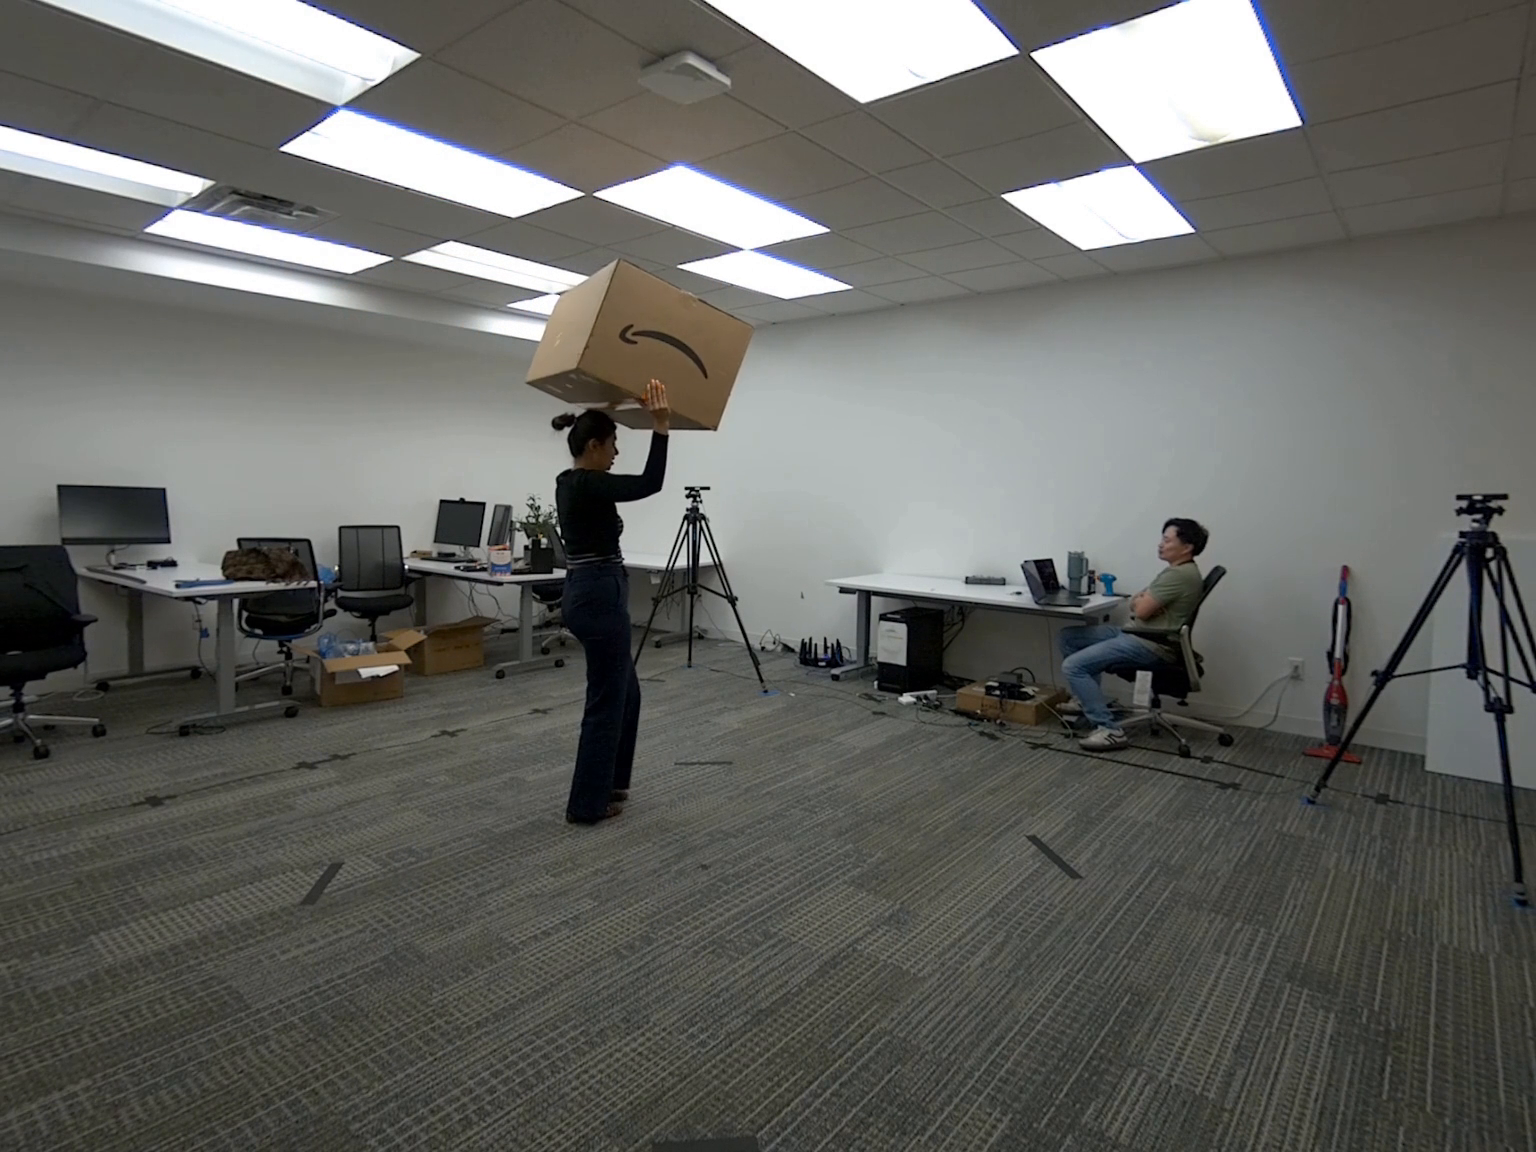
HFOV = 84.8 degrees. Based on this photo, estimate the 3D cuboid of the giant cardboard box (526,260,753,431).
[{"bbox_3d":[-0.592,-0.909,3.549,0.560,0.426,1.057,21,0,-27],"label":"giant cardboard box"}]
